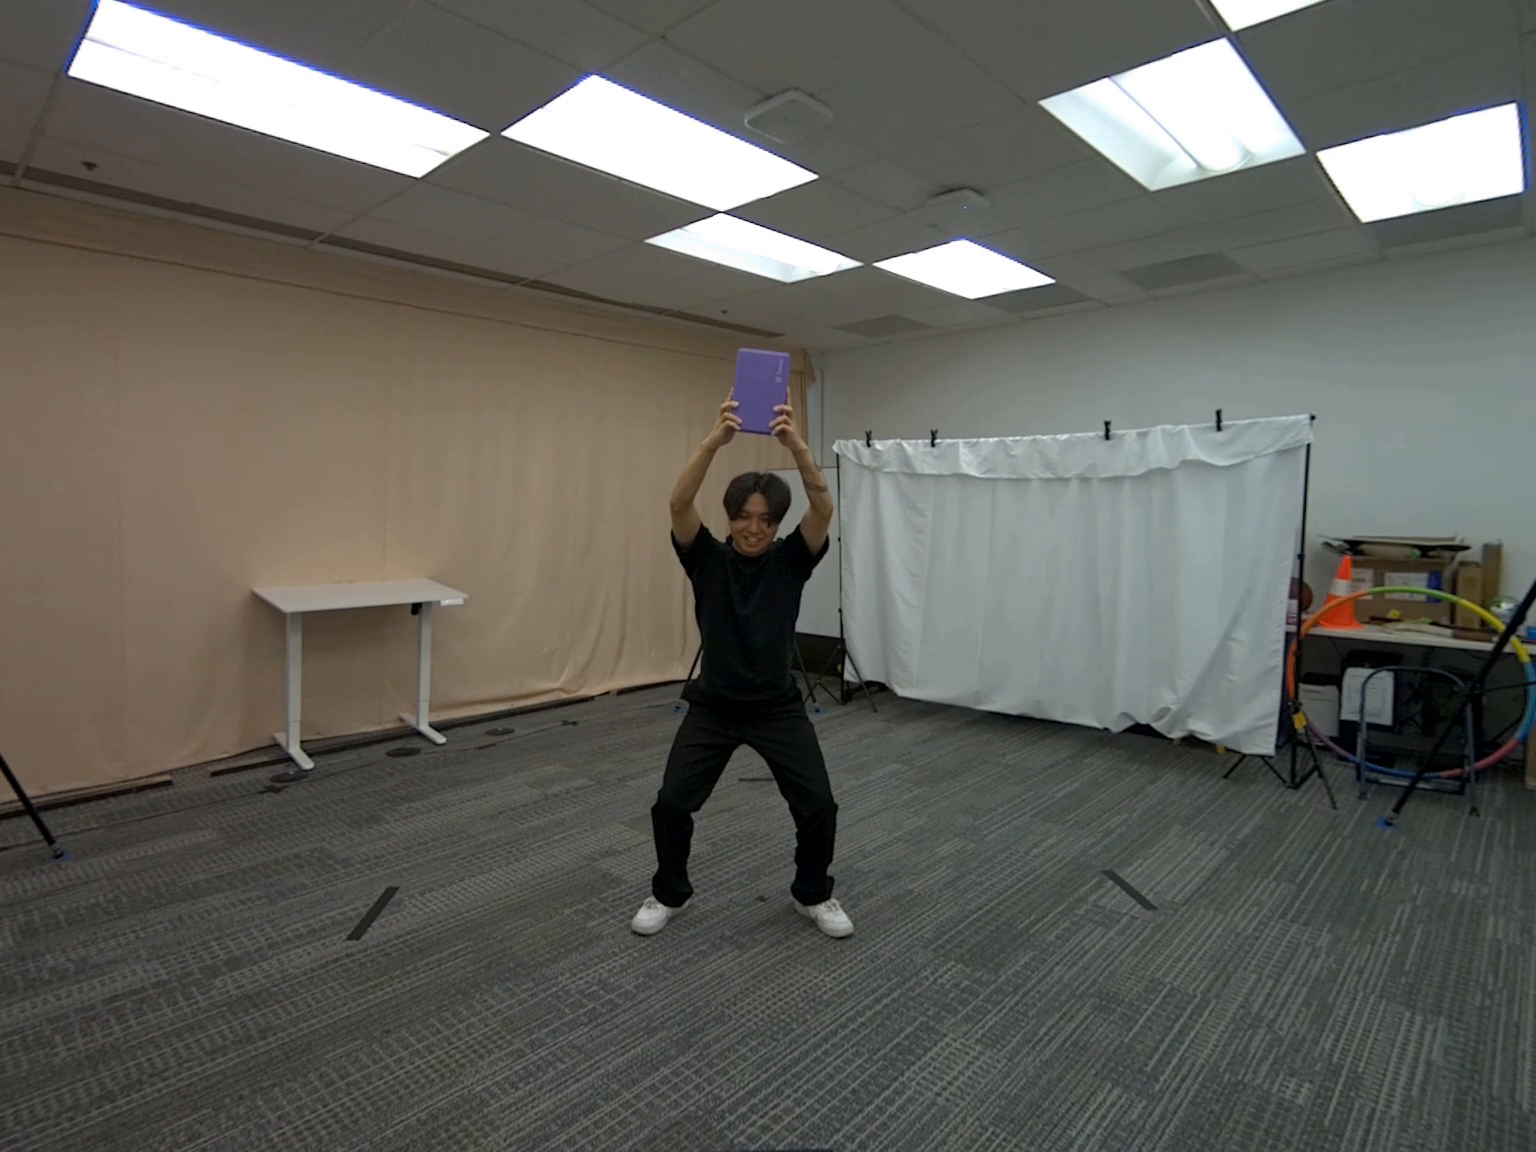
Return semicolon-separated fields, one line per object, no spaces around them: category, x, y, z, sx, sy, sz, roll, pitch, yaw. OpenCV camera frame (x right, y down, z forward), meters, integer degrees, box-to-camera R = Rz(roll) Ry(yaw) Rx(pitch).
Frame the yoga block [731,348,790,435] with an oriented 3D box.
yoga block;-0.017;-0.520;2.365;0.150;0.228;0.076;7;8;3
